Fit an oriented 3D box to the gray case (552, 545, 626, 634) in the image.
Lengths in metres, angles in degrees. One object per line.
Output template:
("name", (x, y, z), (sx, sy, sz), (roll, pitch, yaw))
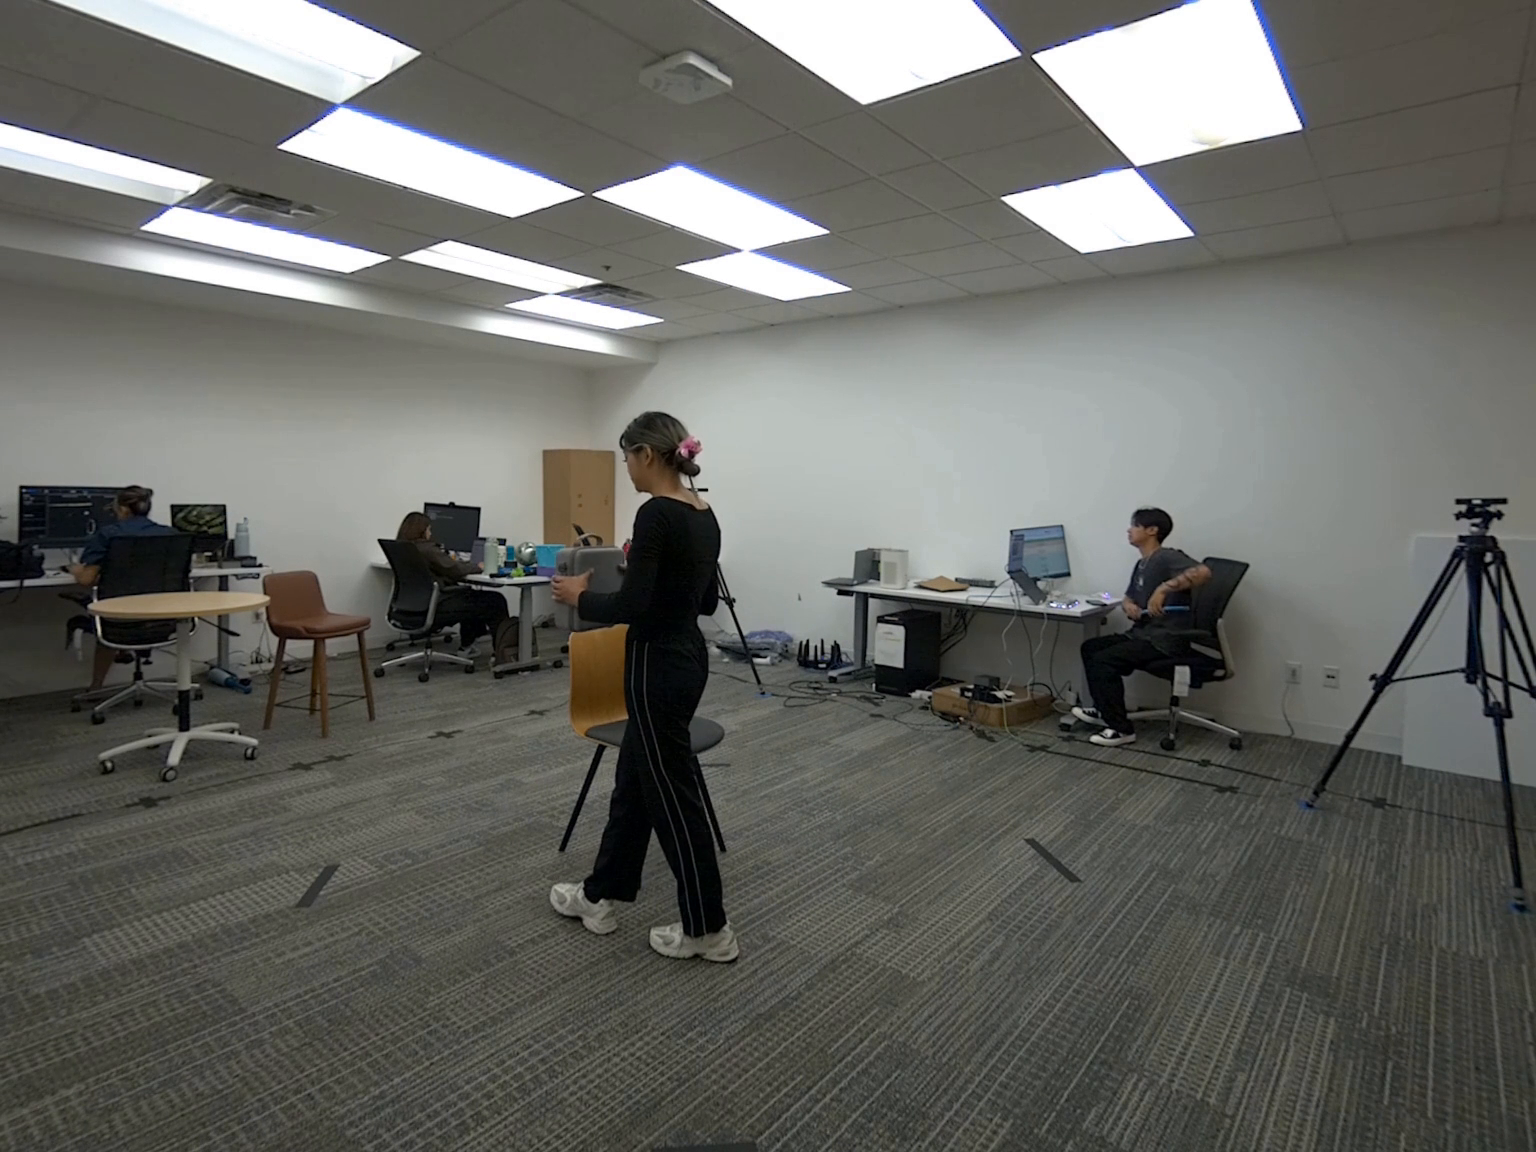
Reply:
("gray case", (-0.560, 0.030, 2.647), (0.107, 0.261, 0.250), (-1, 1, 27))
